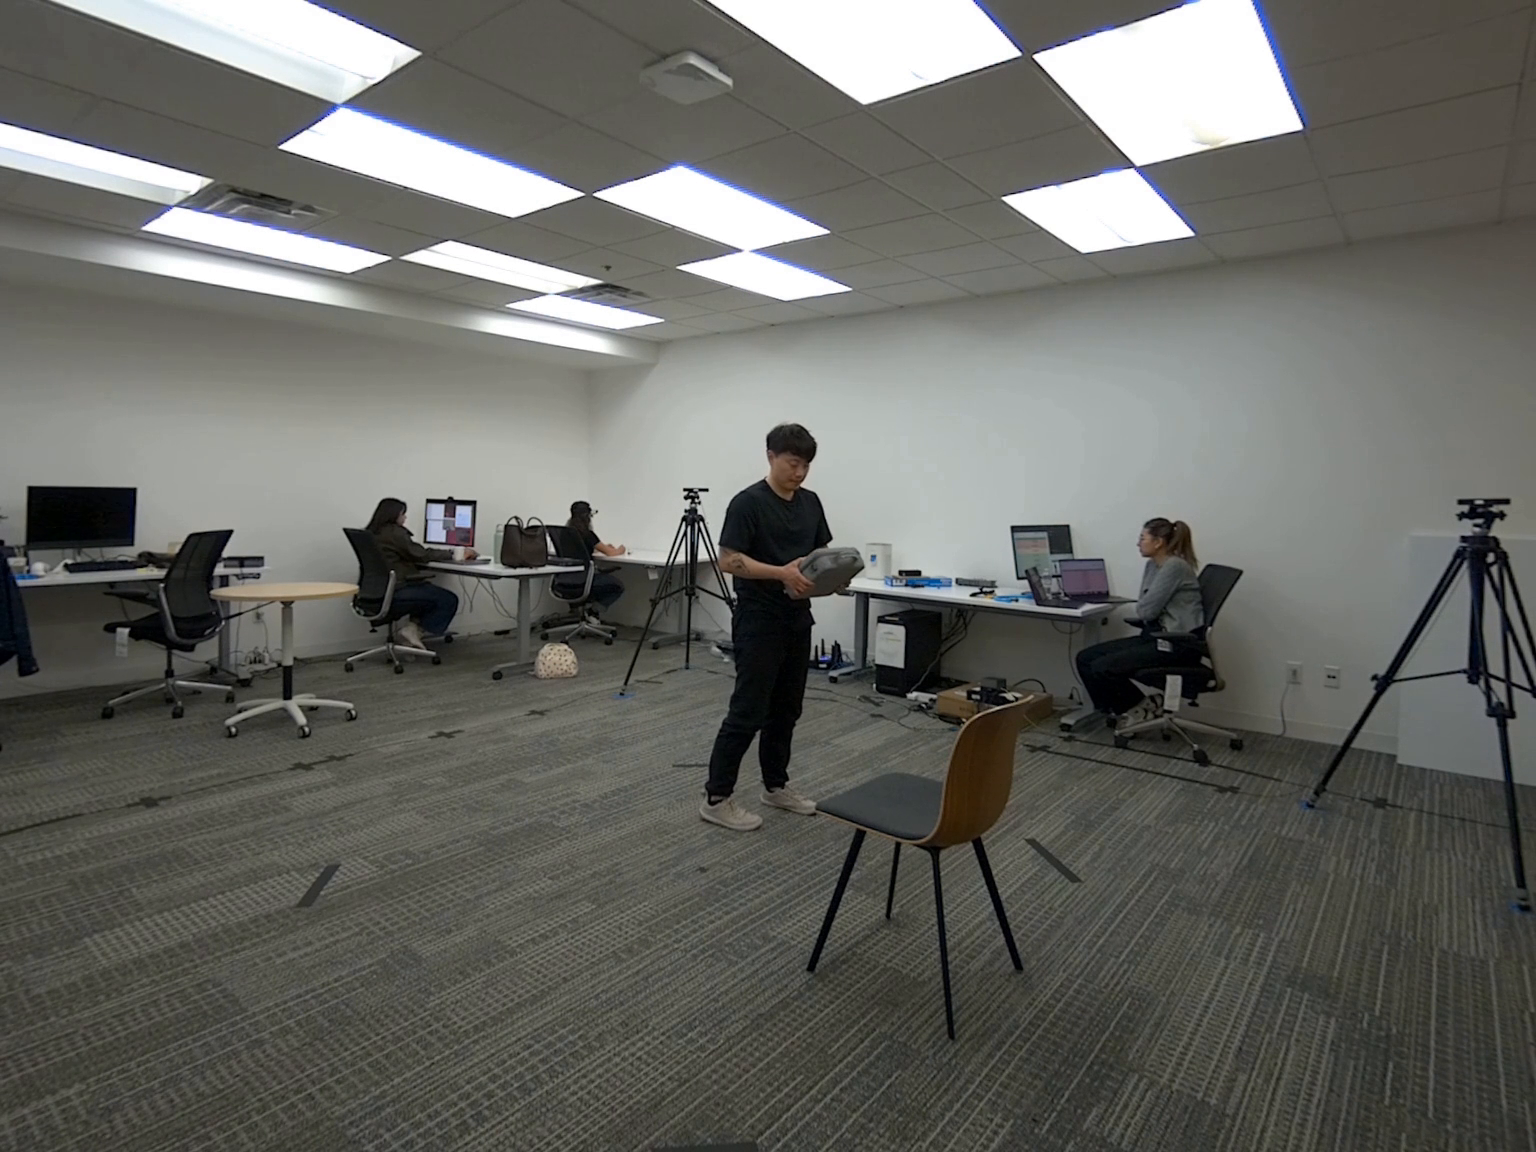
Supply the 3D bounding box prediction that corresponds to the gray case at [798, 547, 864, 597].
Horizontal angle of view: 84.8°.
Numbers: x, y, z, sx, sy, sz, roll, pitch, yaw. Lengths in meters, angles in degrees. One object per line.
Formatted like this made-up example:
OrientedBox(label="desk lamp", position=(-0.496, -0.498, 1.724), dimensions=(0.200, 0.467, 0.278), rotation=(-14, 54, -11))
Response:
OrientedBox(label="gray case", position=(0.216, -0.019, 3.426), dimensions=(0.249, 0.107, 0.261), rotation=(-4, -26, -40))
